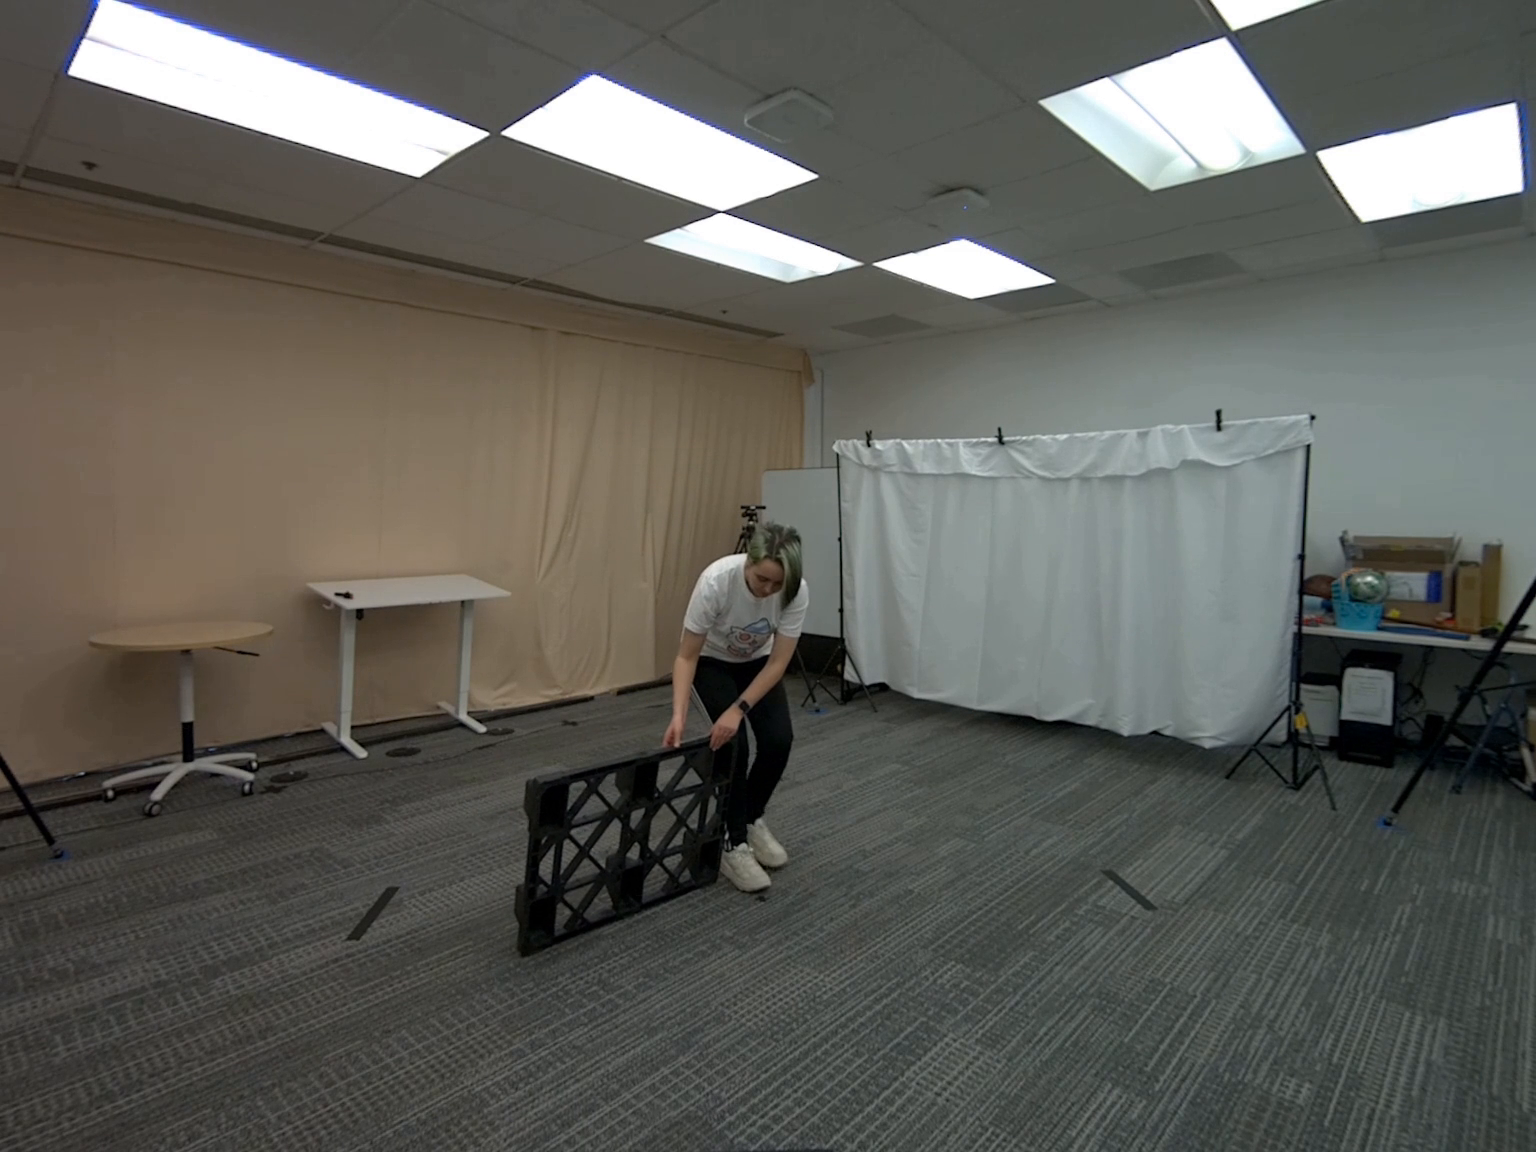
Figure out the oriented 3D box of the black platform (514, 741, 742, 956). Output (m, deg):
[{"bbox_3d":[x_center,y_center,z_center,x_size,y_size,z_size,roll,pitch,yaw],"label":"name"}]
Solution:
[{"bbox_3d":[-0.479,0.858,2.834,0.781,0.601,0.149,-3,17,-42],"label":"black platform"}]
